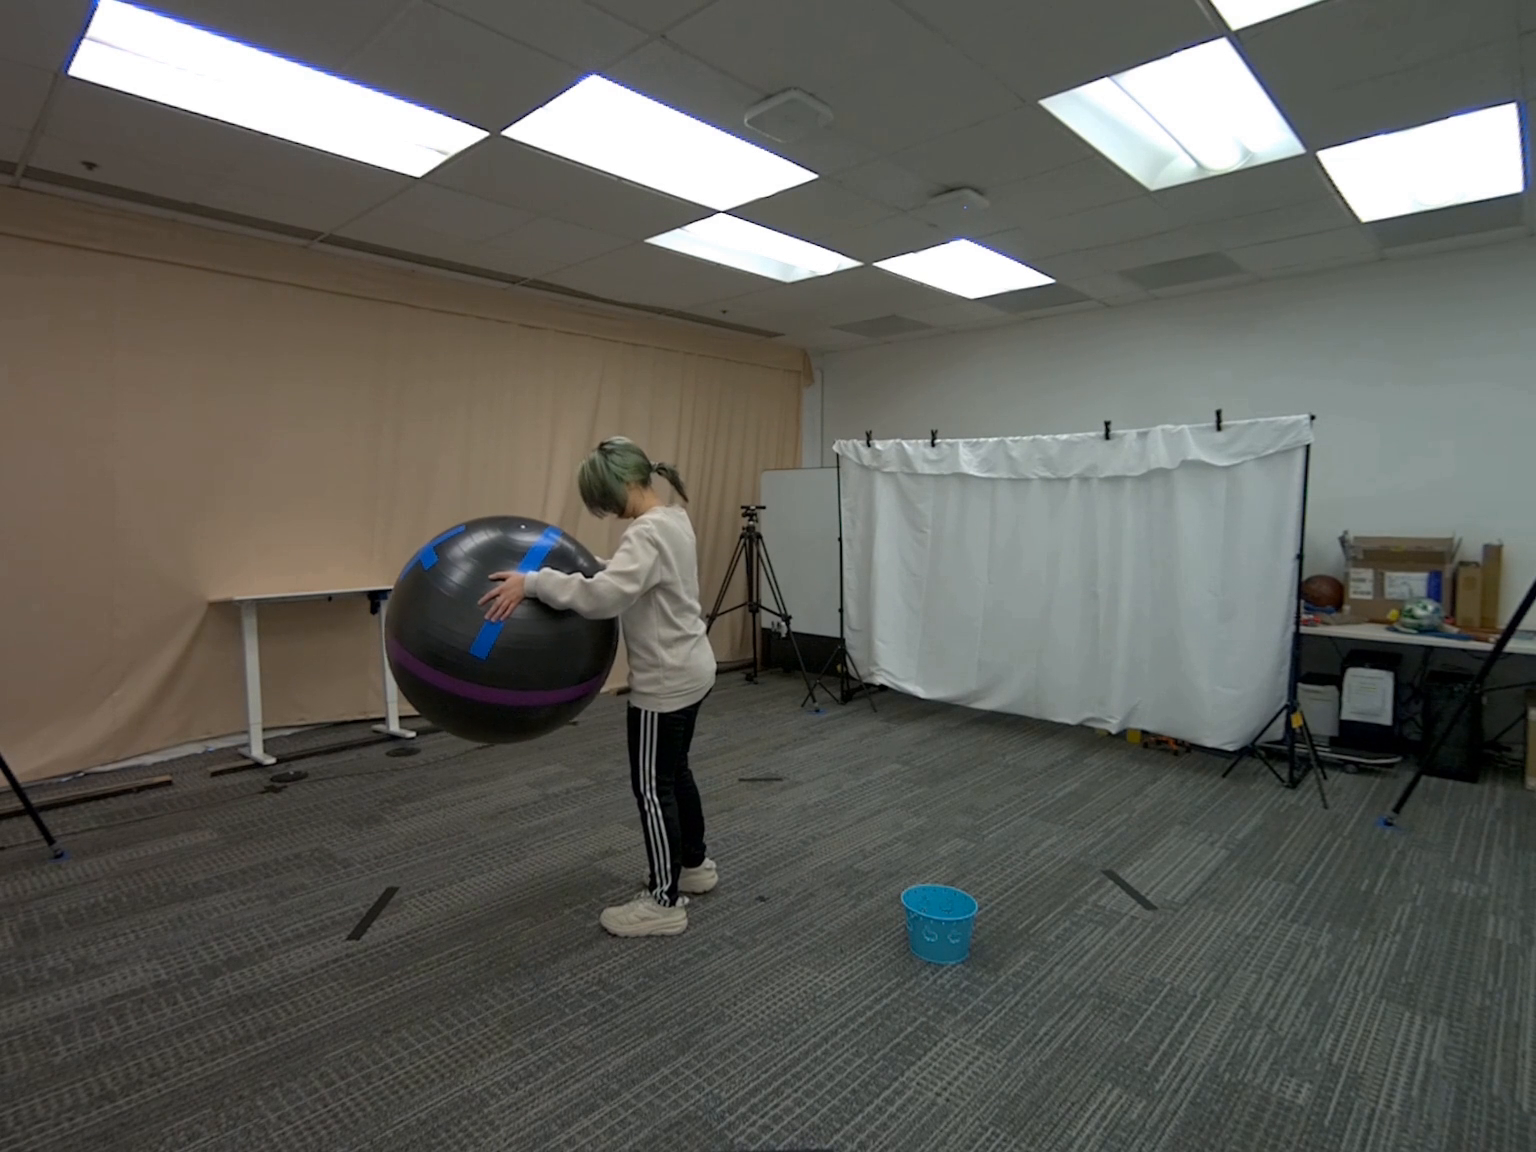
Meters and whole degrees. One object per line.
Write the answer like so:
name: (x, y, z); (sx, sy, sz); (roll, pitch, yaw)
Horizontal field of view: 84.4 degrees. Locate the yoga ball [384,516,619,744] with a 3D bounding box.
yoga ball: (-0.880, 0.192, 2.820); (0.757, 0.756, 0.760); (0, 4, -2)
